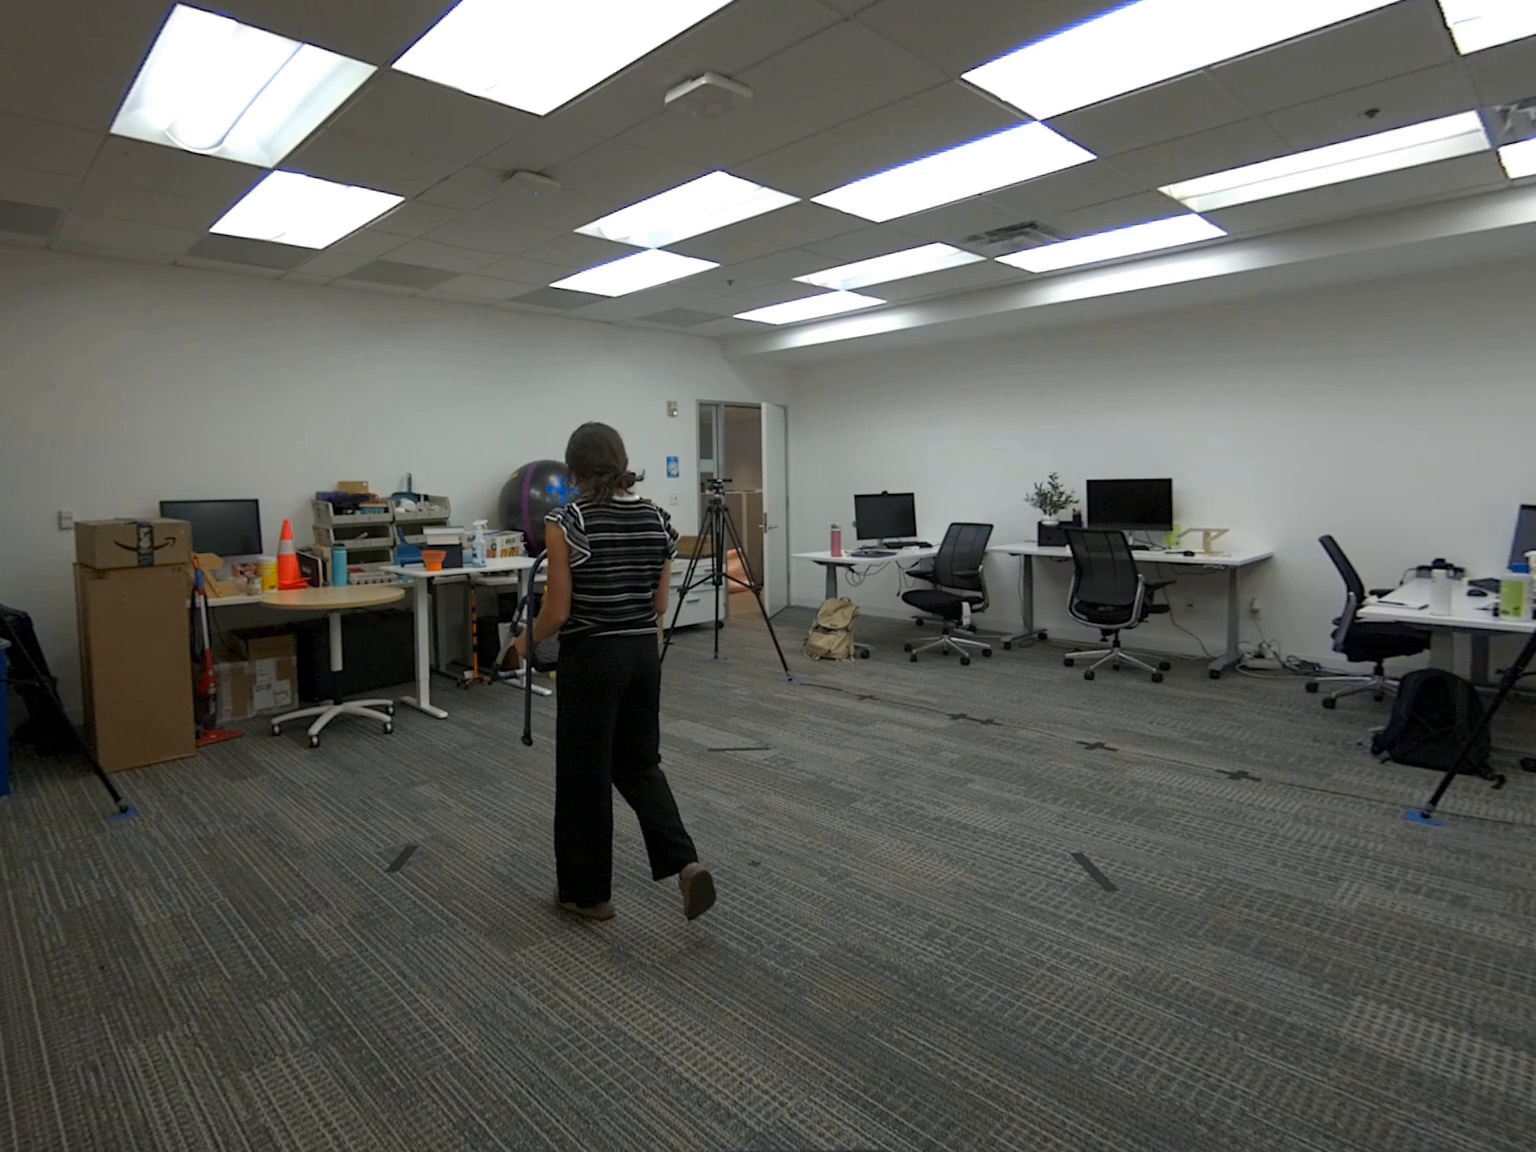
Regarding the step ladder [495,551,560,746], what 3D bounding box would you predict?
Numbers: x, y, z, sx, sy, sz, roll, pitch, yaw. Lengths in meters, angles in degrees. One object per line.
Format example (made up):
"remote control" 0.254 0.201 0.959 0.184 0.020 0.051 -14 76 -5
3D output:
"step ladder" -0.626 0.179 2.865 0.419 0.599 0.363 -3 33 -40
